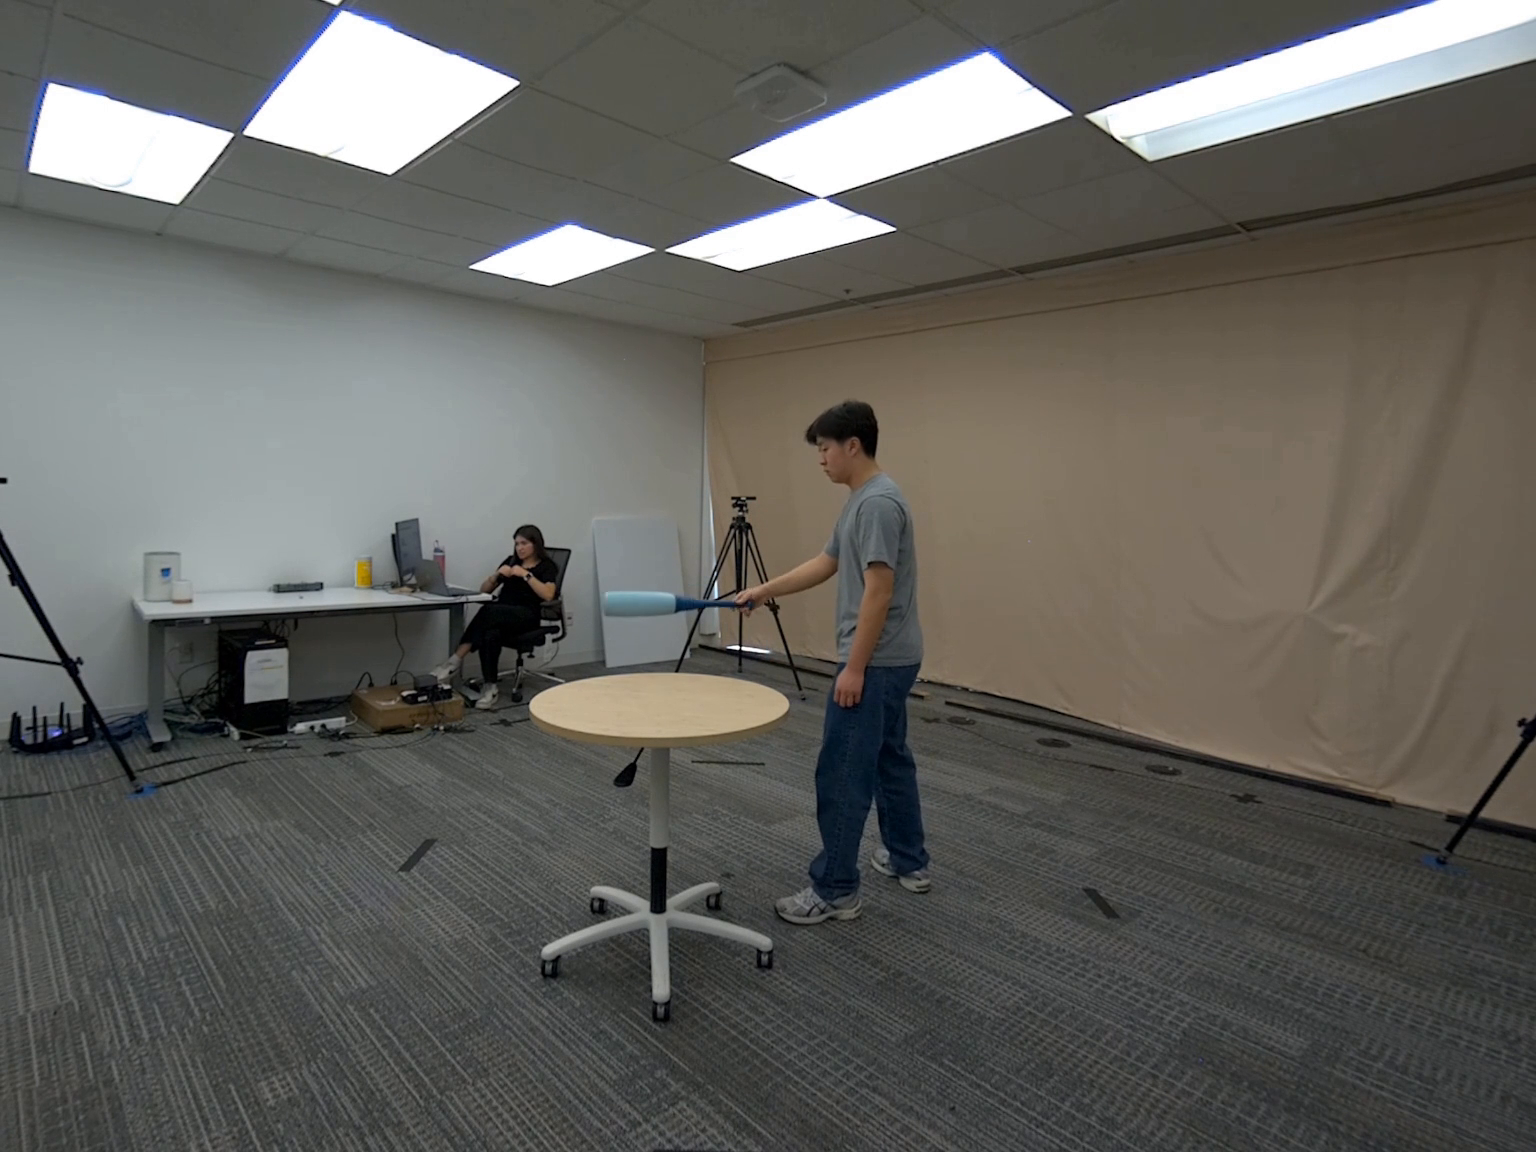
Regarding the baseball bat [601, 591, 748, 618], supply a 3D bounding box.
[{"bbox_3d":[-0.304,0.099,2.964,0.536,0.089,0.090,2,4,-15],"label":"baseball bat"}]
